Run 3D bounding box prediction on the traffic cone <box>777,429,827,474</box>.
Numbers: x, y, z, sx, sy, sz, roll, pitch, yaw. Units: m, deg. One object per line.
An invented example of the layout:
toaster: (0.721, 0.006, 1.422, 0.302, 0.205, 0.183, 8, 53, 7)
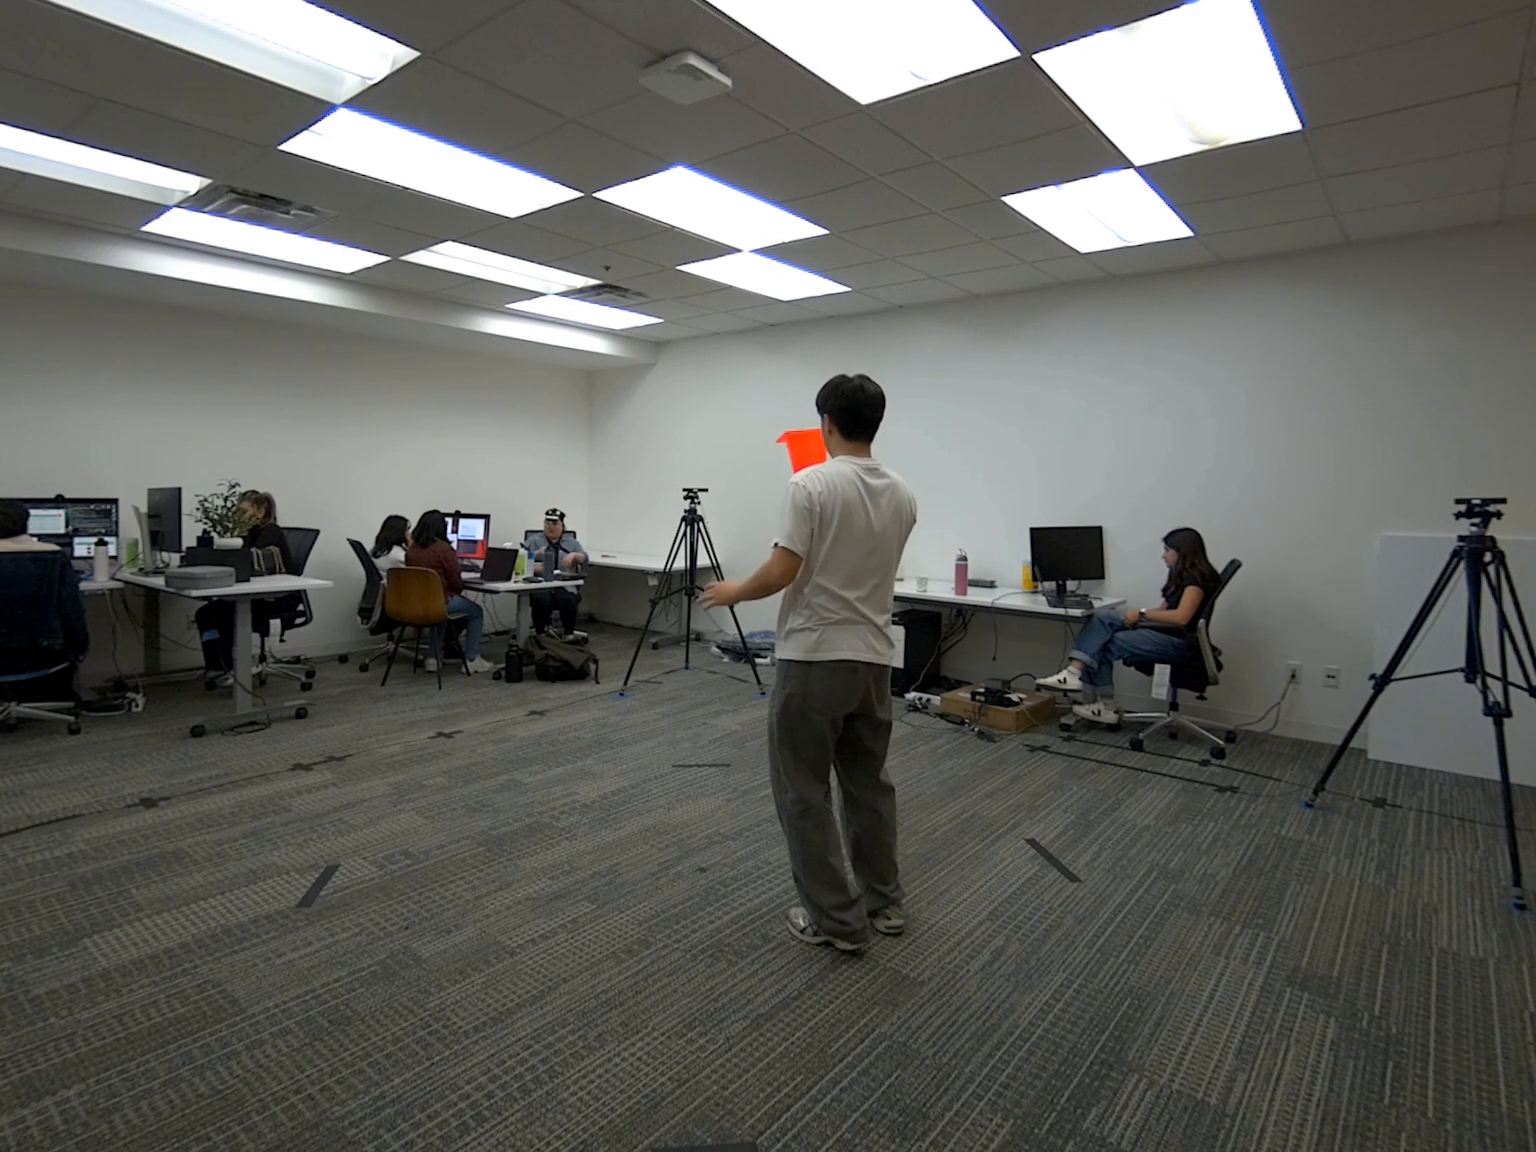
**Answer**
traffic cone: (0.146, -0.331, 3.070, 0.205, 0.386, 0.202, -2, -5, 8)
